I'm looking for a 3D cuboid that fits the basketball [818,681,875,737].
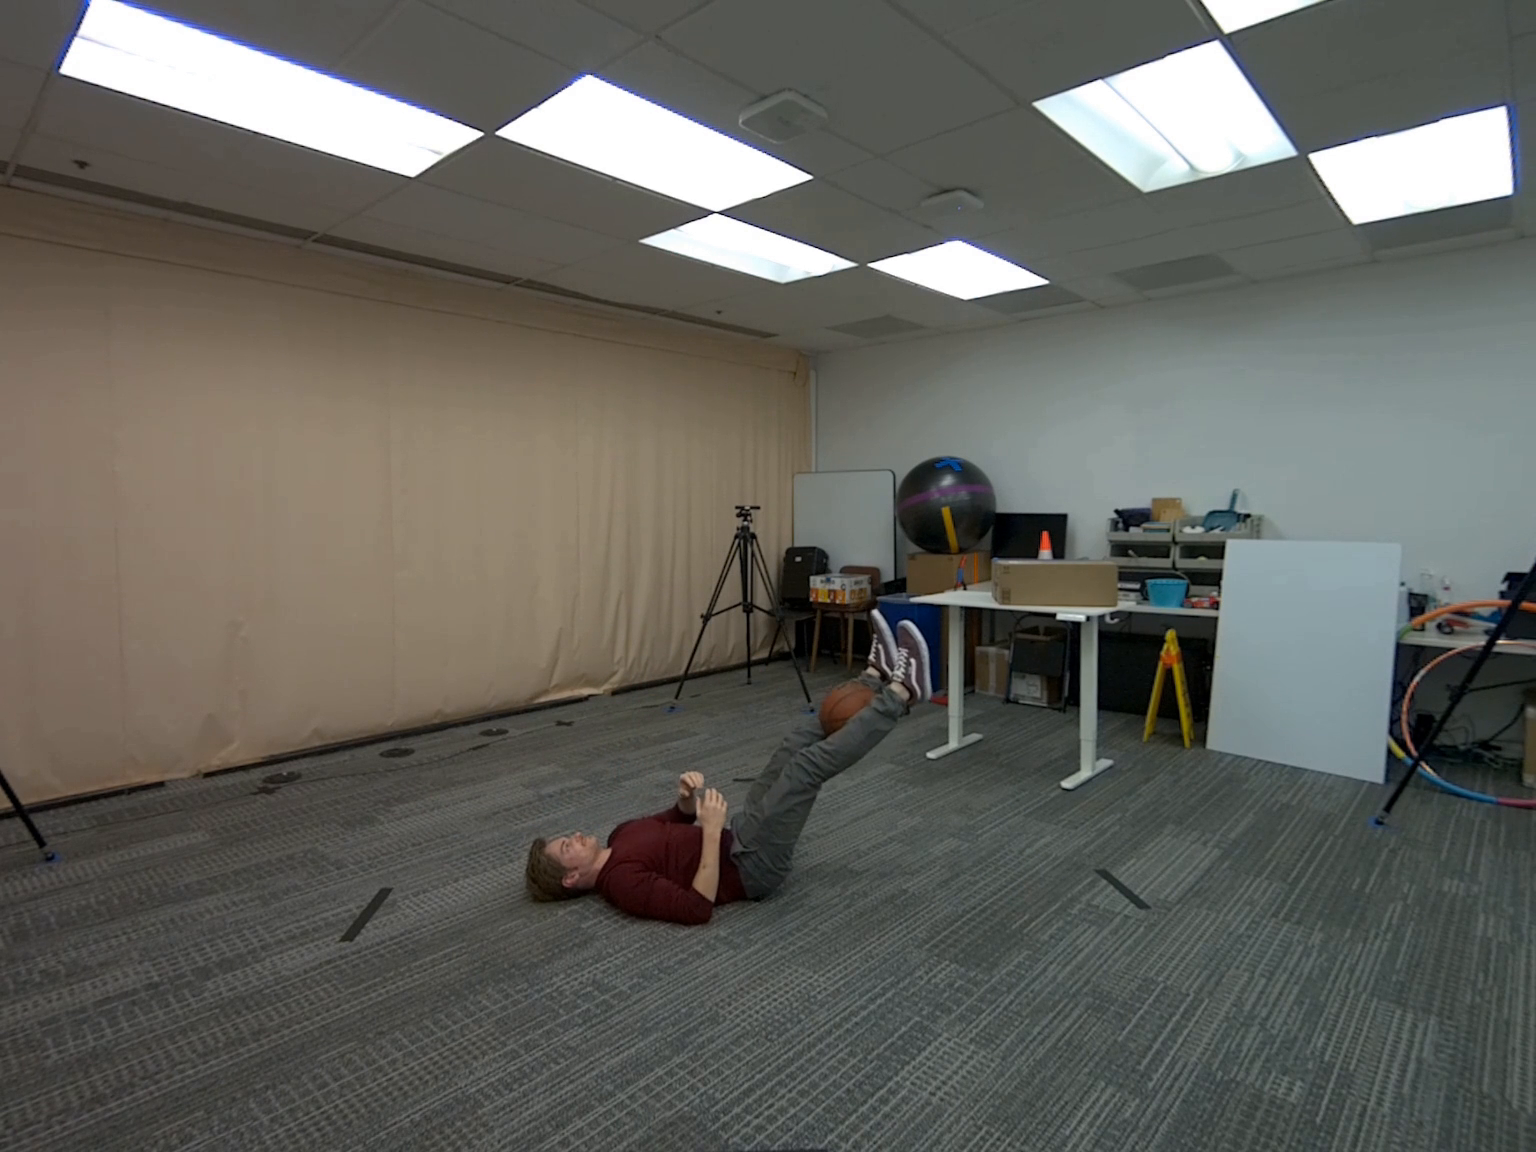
[{"bbox_3d":[0.309,0.510,3.072,0.236,0.235,0.237,0,4,-2],"label":"basketball"}]
